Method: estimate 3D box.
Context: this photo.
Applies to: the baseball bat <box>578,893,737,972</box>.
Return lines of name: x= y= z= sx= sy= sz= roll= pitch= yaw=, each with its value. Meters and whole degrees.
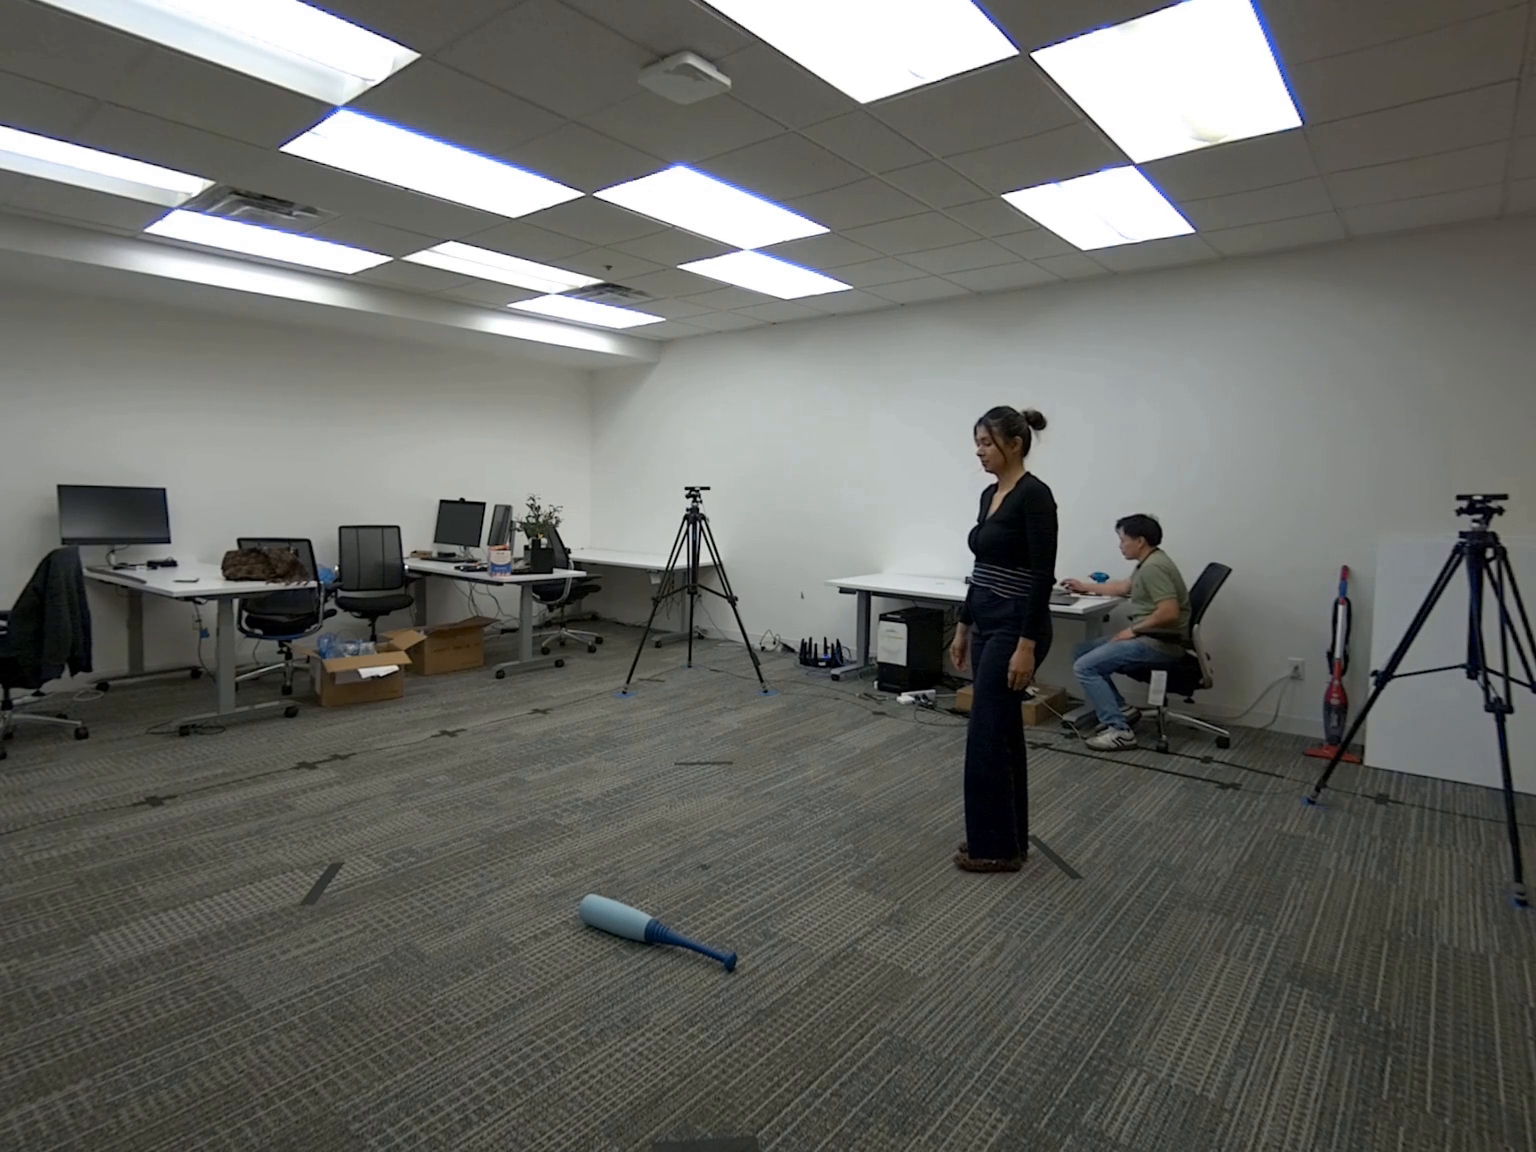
baseball bat: x=-0.352 y=1.080 z=2.574 sx=0.559 sy=0.088 sz=0.087 roll=7 pitch=7 yaw=27
